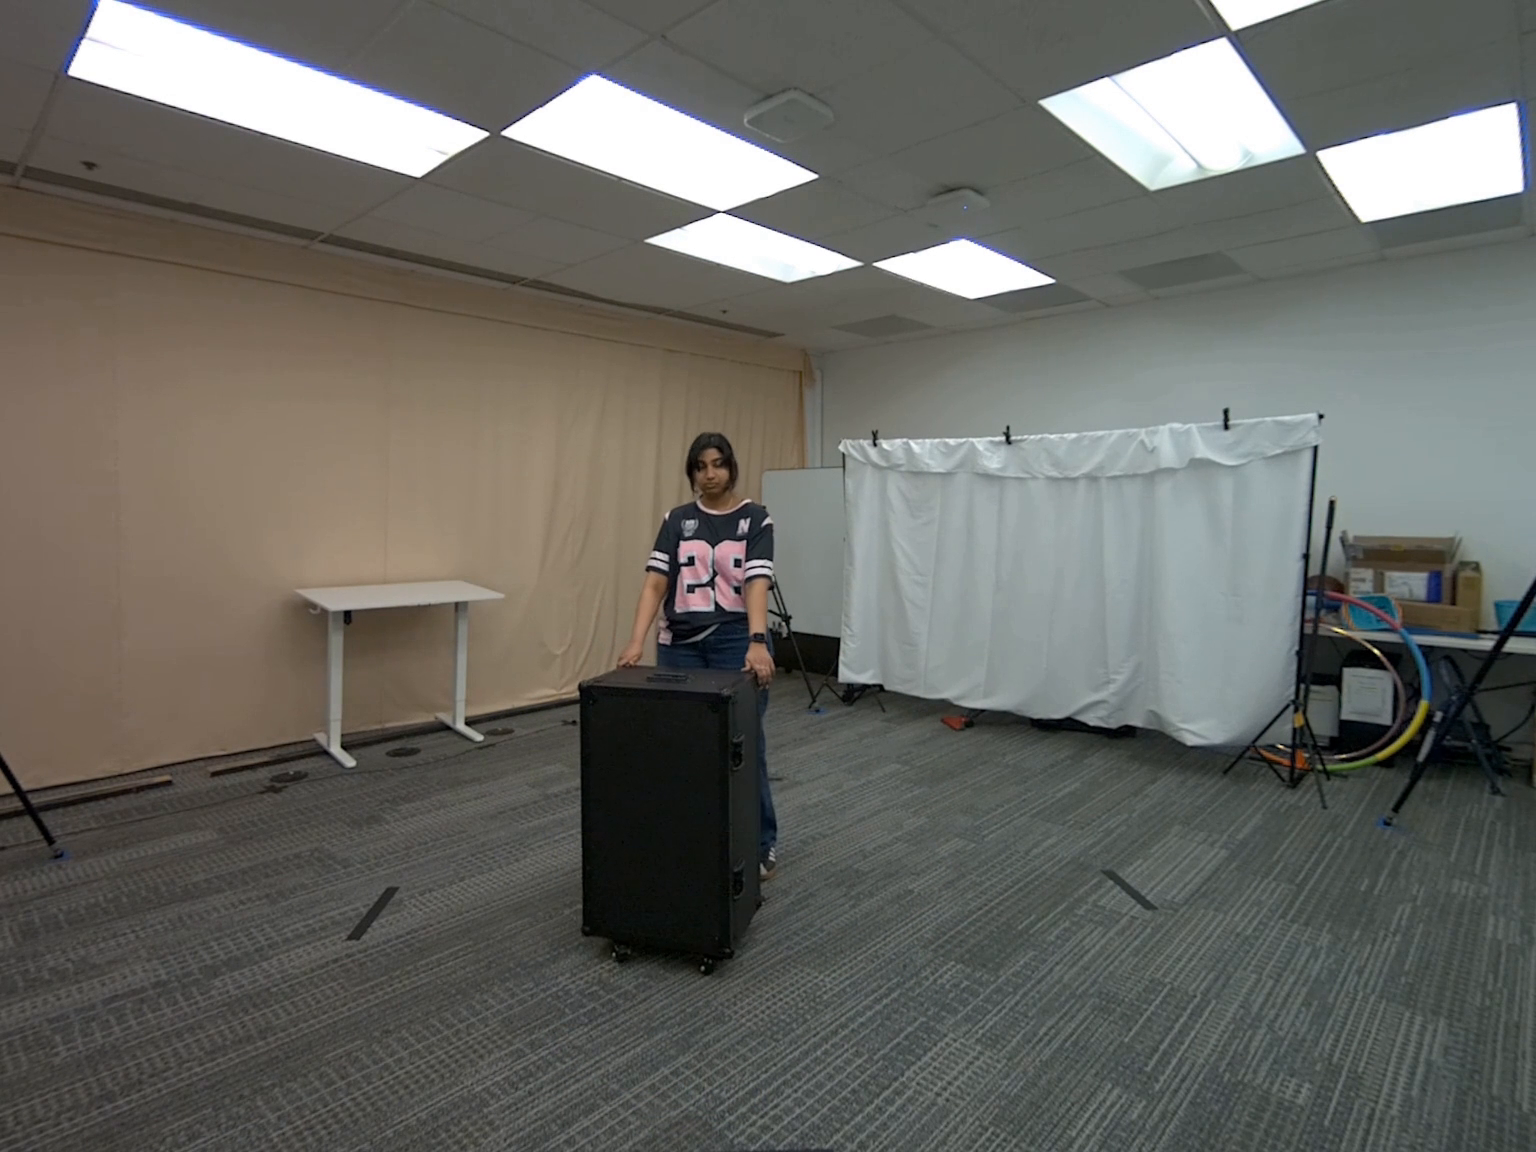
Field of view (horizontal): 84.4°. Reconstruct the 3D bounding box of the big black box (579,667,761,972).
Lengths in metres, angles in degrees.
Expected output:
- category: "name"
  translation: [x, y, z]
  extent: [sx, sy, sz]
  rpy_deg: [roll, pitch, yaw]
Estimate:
- category: "big black box"
  translation: [-0.306, 0.746, 2.684]
  extent: [0.533, 0.867, 0.379]
  rpy_deg: [1, 3, 16]
